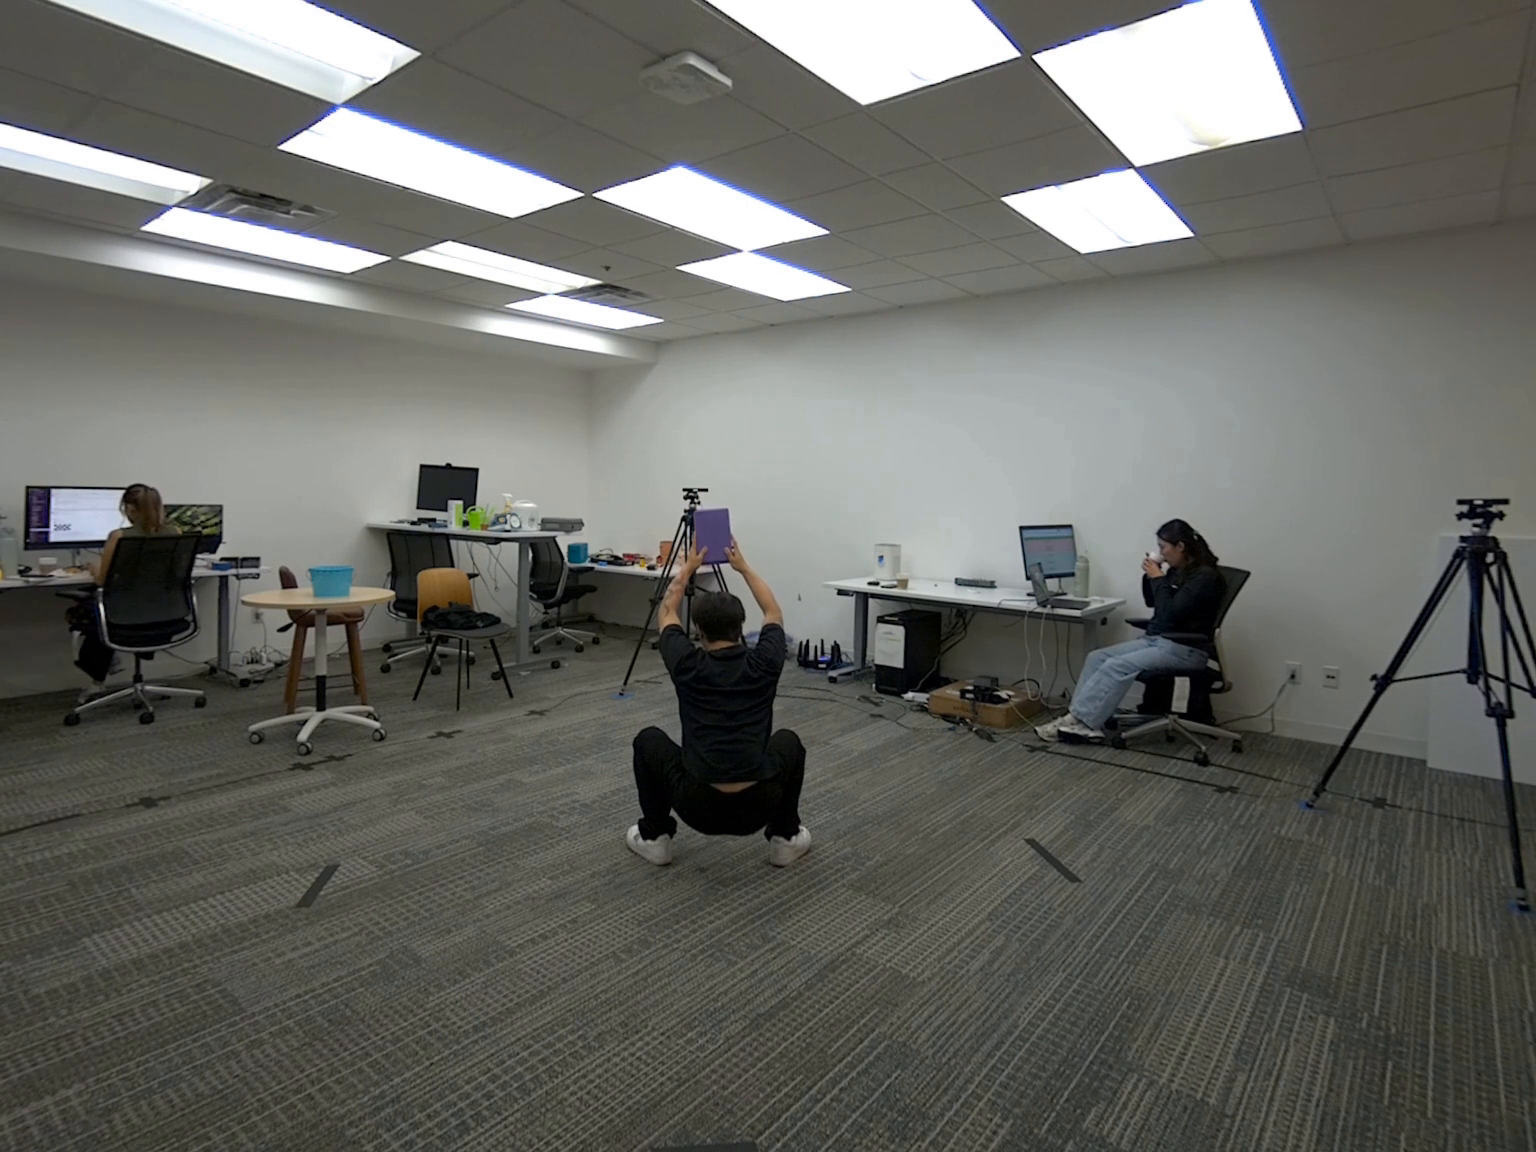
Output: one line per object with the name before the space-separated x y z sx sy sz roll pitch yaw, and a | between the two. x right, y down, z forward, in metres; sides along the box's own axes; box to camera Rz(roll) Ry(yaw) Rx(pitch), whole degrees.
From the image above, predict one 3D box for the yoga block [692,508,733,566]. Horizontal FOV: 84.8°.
yoga block | -0.242 -0.171 3.599 0.149 0.231 0.076 -5 -7 -1
